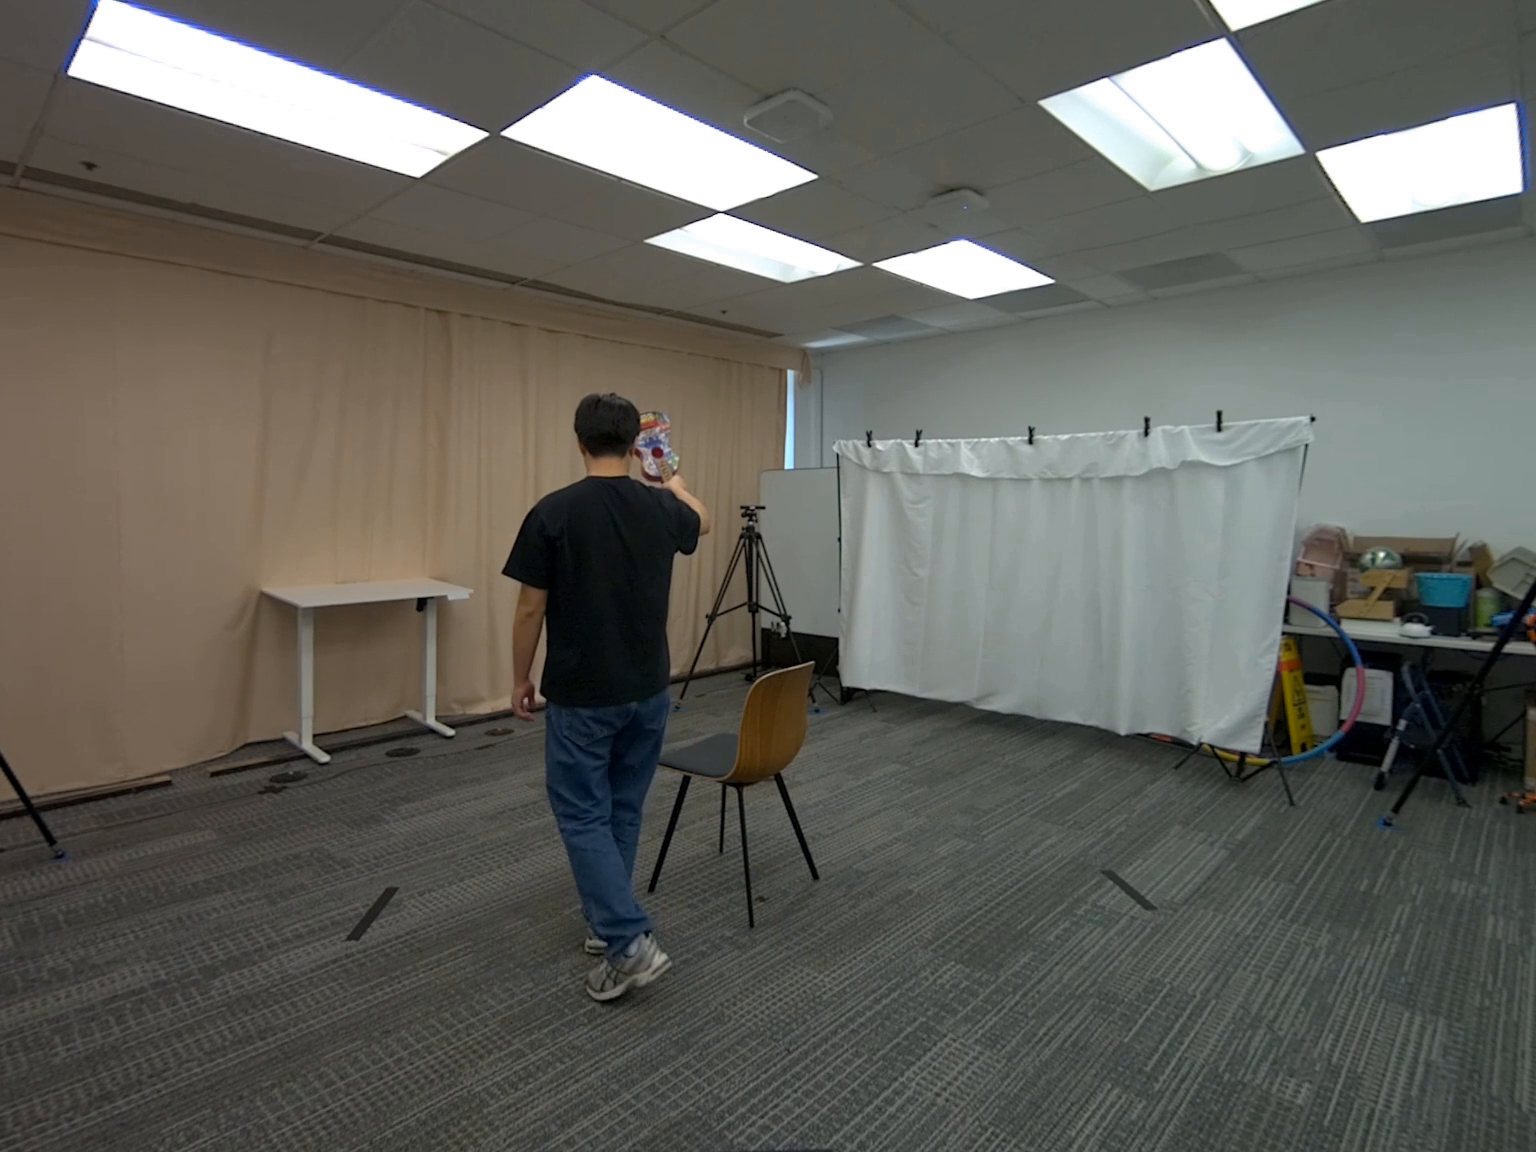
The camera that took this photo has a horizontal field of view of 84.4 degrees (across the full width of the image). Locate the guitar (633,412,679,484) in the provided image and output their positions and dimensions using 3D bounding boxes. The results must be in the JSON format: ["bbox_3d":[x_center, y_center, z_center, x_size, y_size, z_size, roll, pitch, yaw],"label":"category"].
[{"bbox_3d":[-0.415,-0.380,3.163,0.190,0.503,0.071,-11,-13,-14],"label":"guitar"}]
